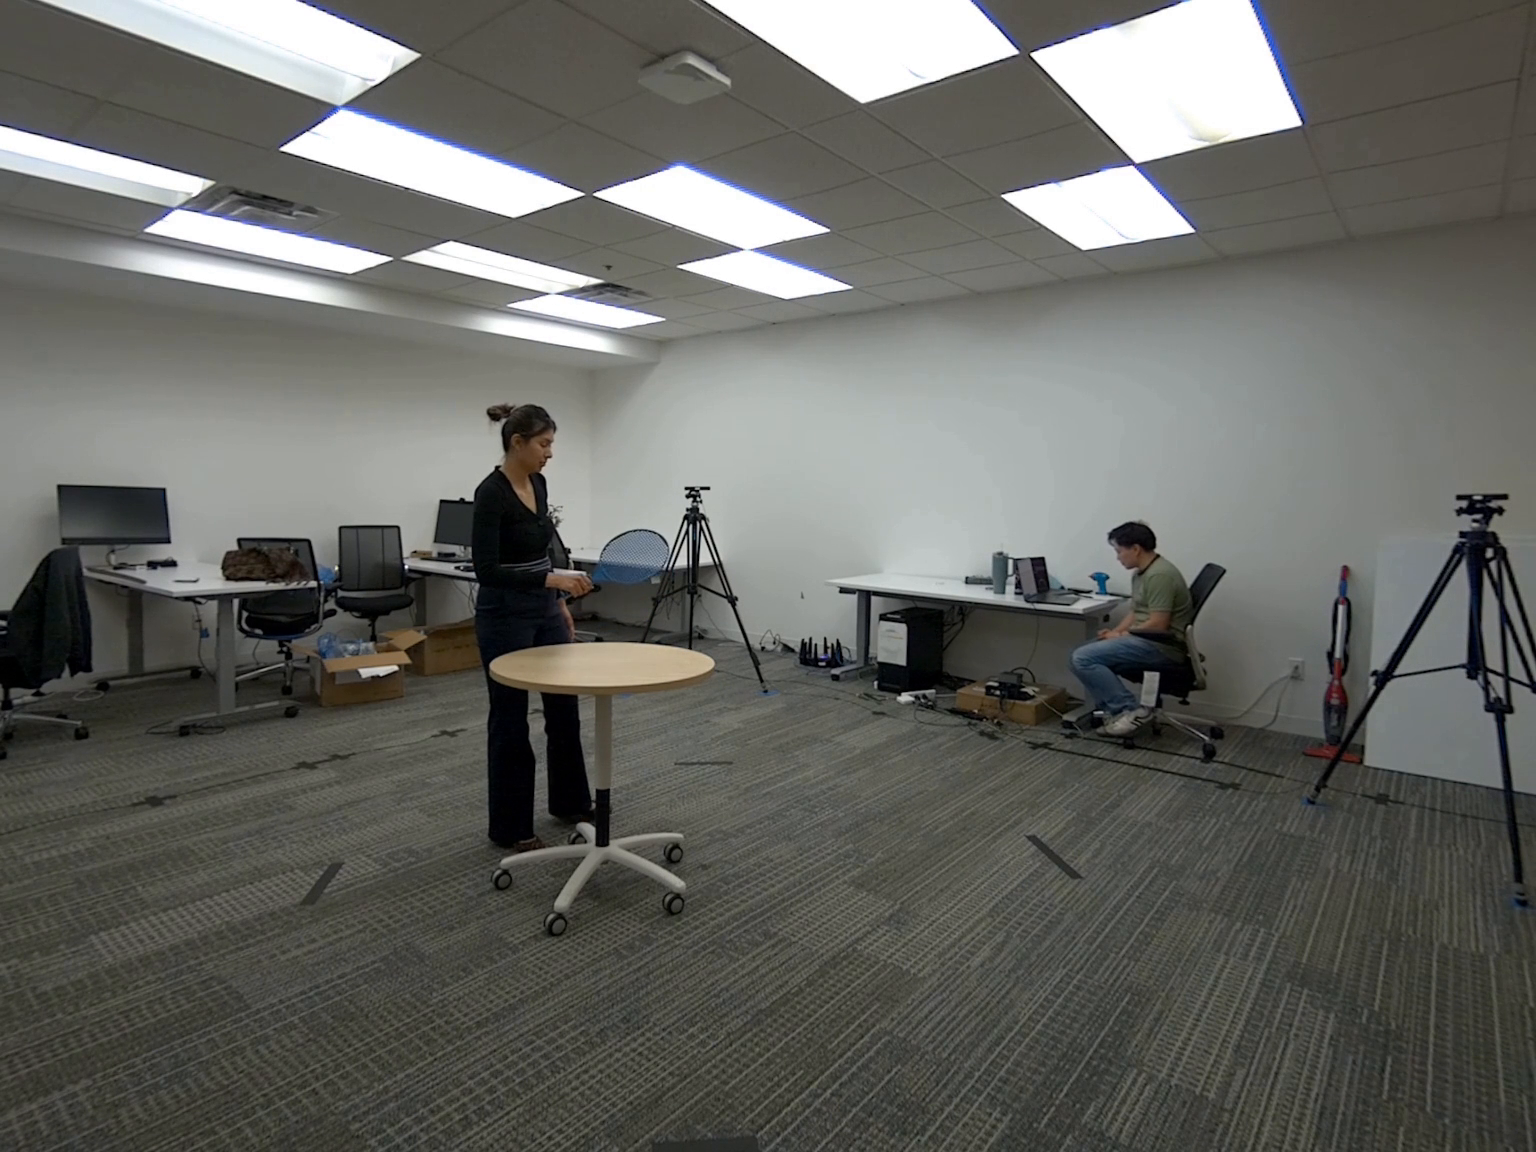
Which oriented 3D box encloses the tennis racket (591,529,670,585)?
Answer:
[{"bbox_3d":[-0.566,-0.034,3.063,0.429,0.220,0.031,-26,-22,-17],"label":"tennis racket"}]
